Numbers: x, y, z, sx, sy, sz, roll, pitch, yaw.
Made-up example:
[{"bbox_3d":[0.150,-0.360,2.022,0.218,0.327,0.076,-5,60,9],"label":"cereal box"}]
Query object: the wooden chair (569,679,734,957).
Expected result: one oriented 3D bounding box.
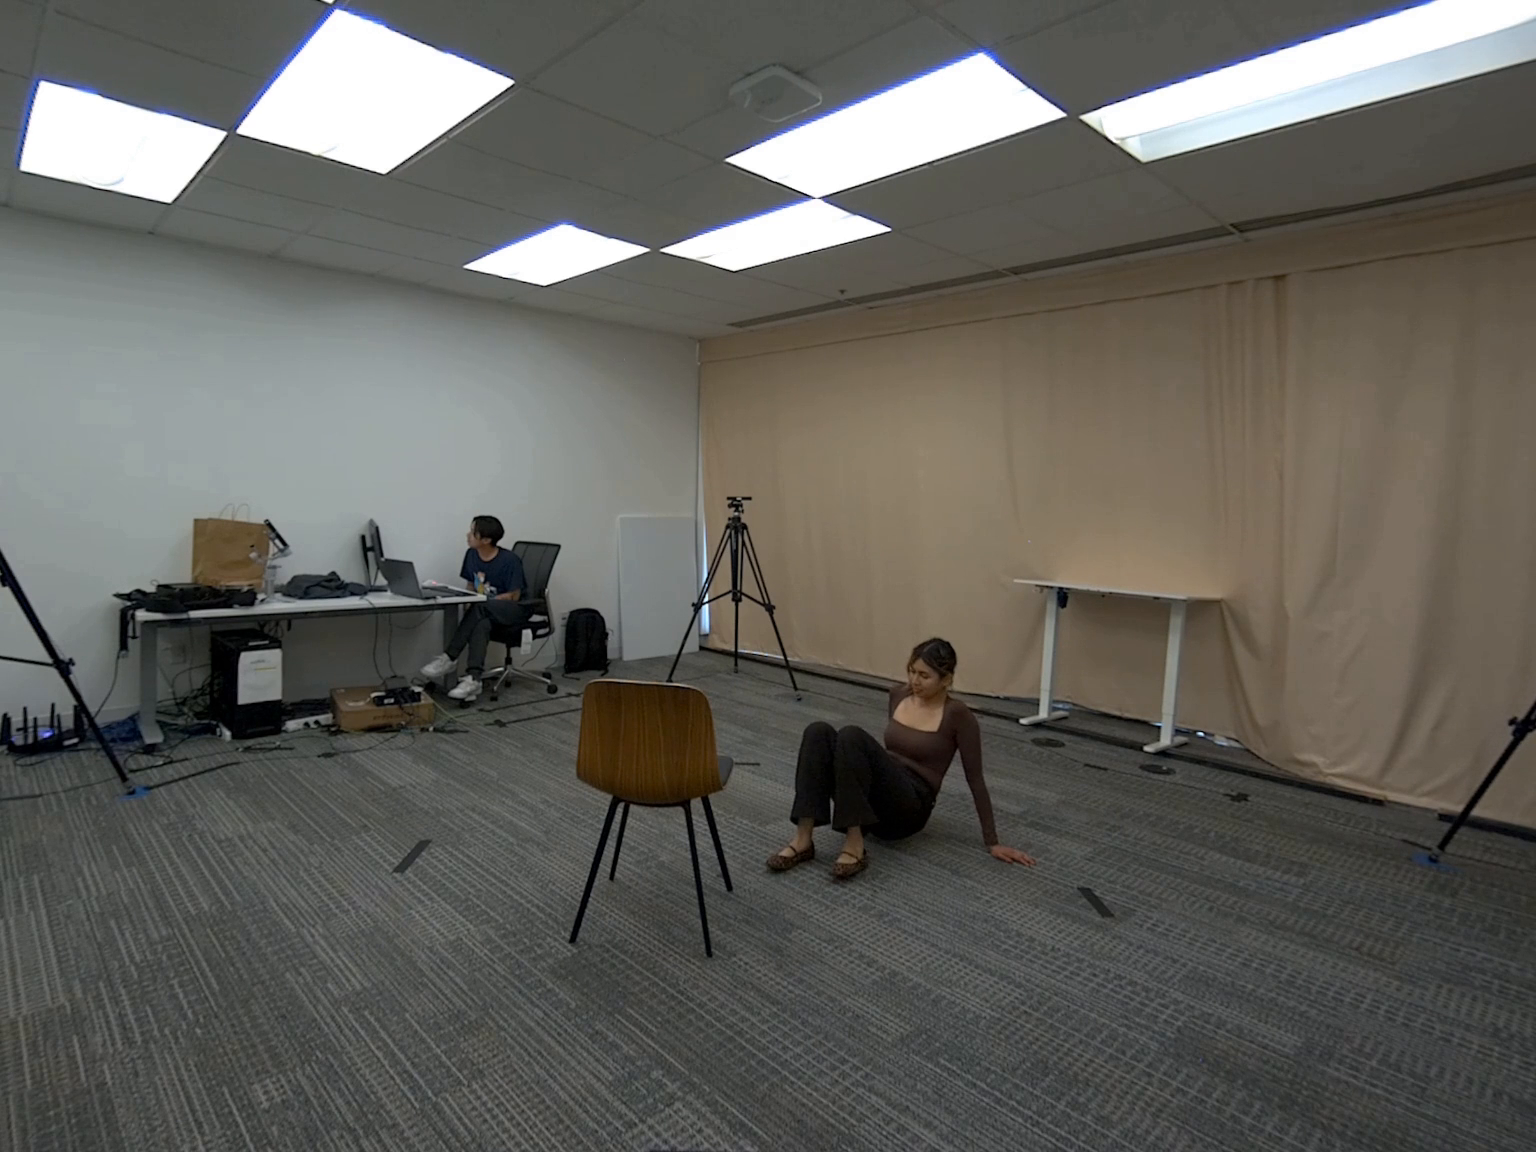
[{"bbox_3d":[-0.369,0.703,2.776,0.481,0.873,0.523,1,7,7],"label":"wooden chair"}]
